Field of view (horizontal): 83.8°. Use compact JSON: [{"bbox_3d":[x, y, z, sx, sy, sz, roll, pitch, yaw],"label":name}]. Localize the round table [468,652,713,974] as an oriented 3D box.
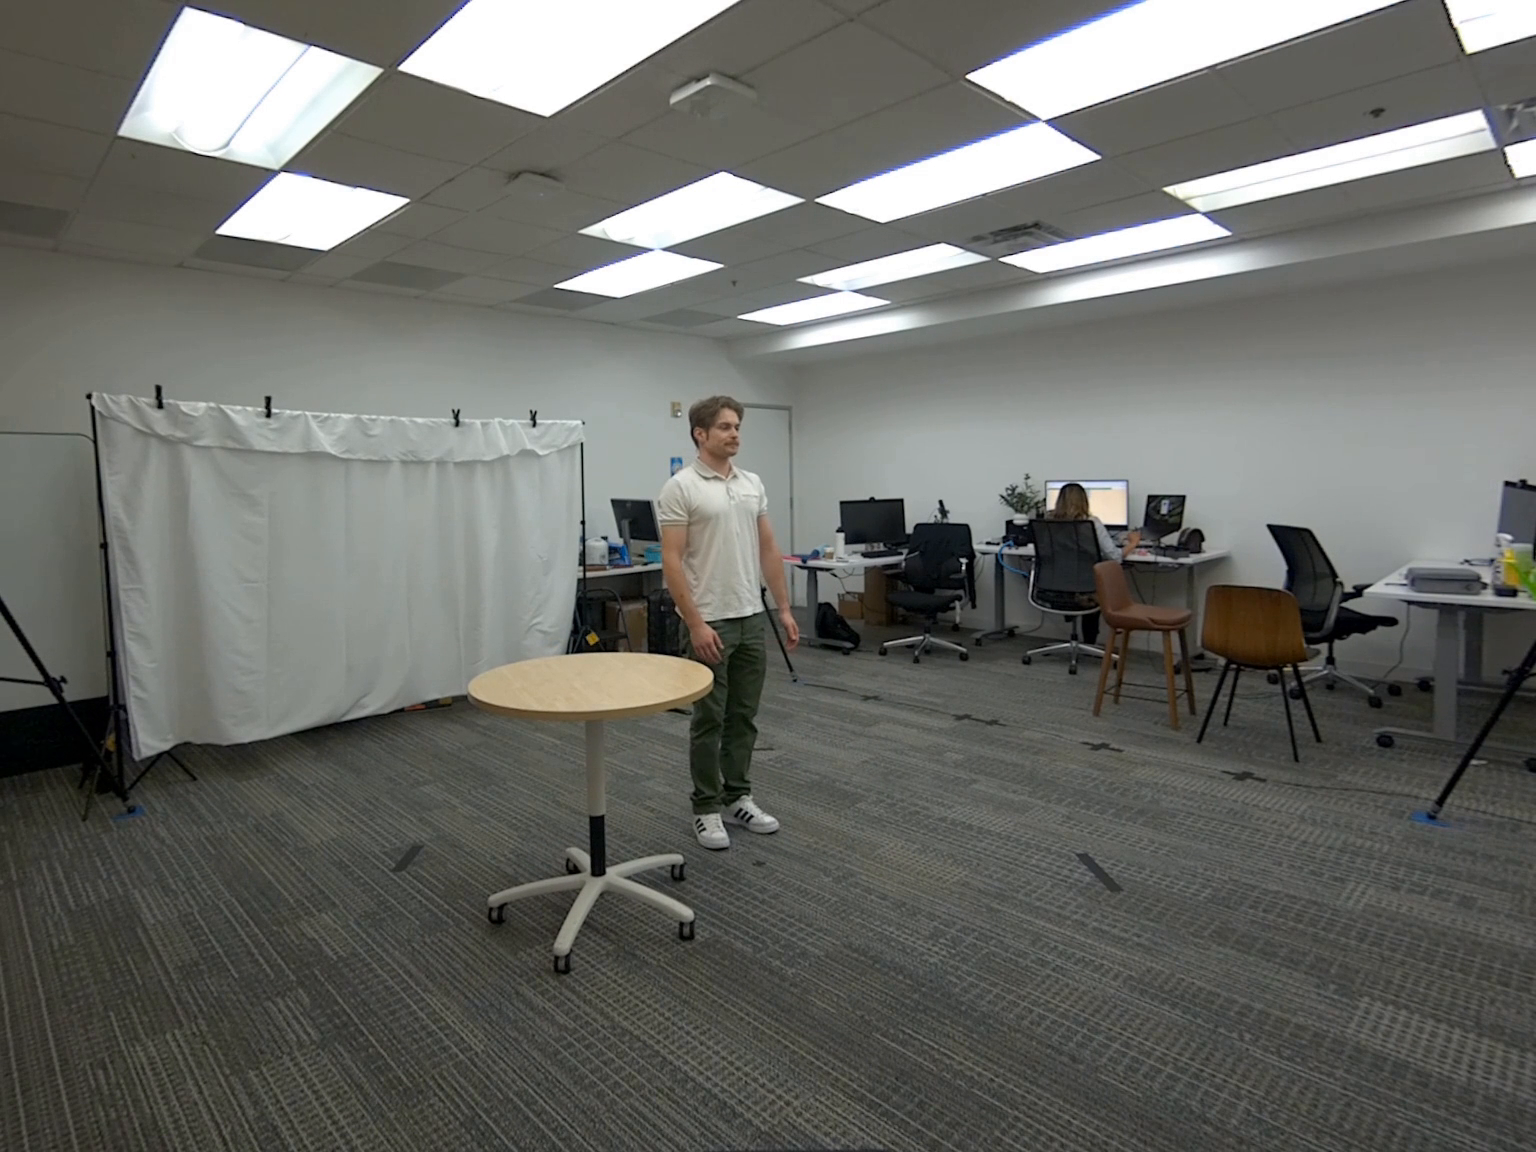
[{"bbox_3d":[-0.548,0.715,2.736,0.763,0.790,0.768,-1,5,-2],"label":"round table"}]
